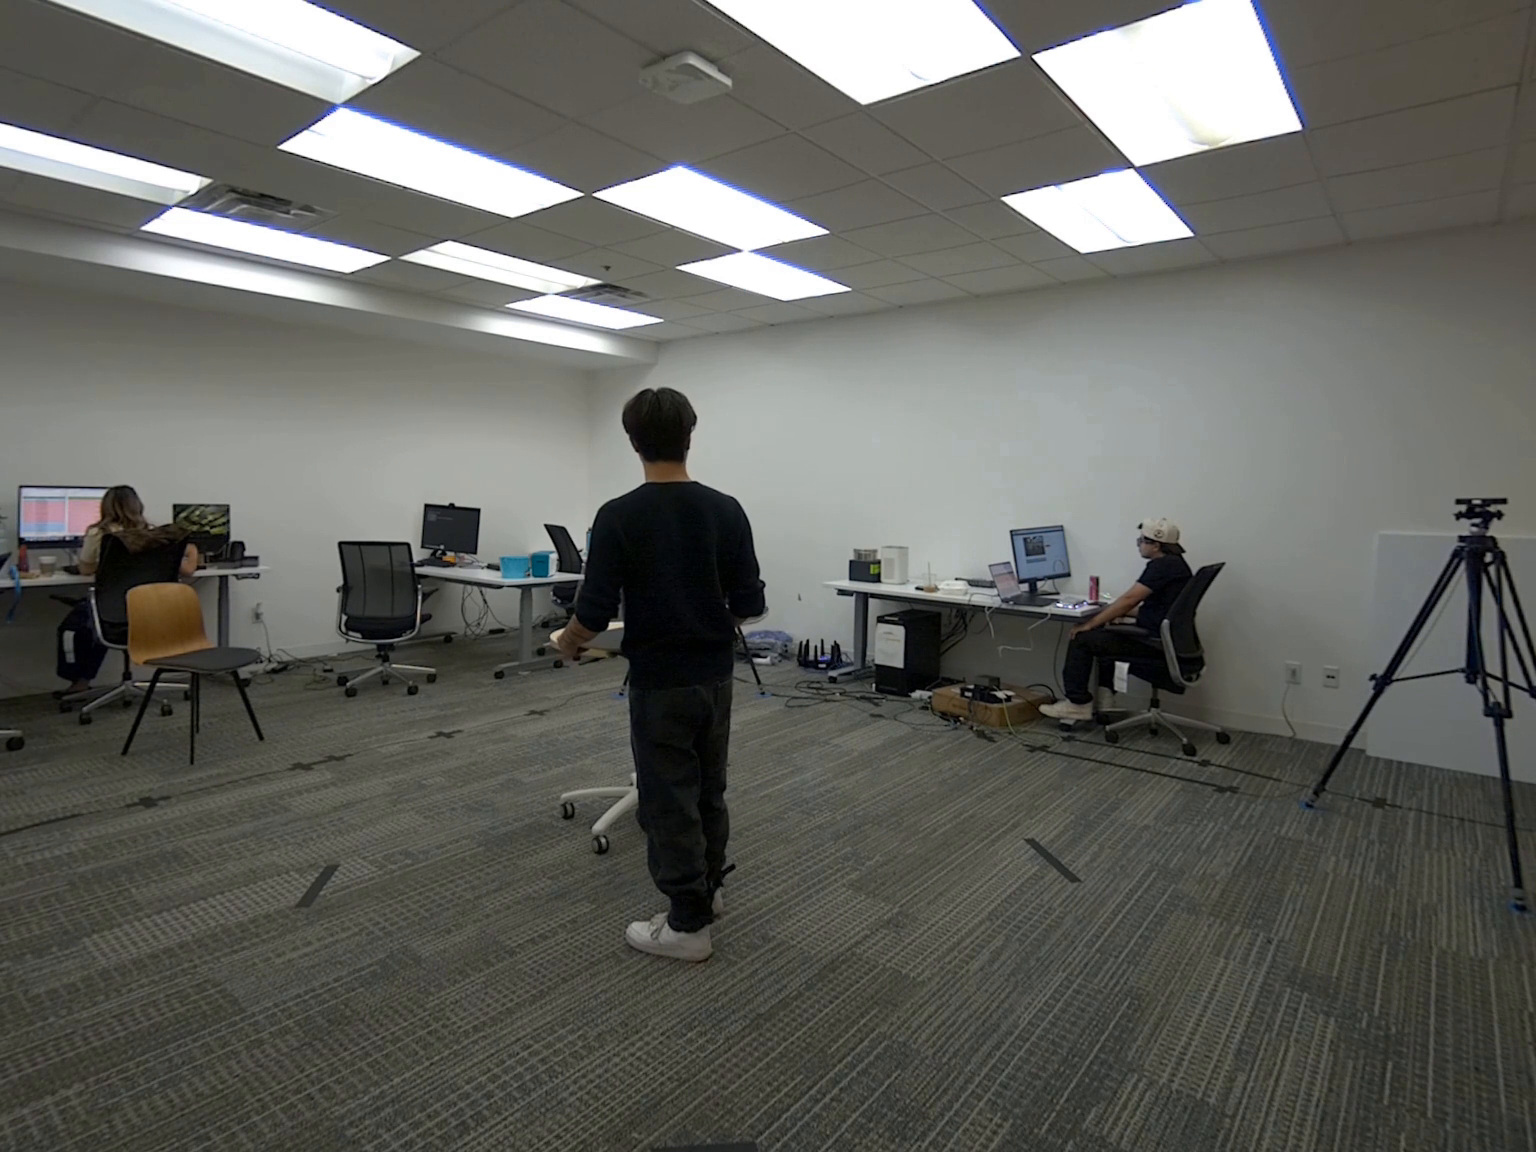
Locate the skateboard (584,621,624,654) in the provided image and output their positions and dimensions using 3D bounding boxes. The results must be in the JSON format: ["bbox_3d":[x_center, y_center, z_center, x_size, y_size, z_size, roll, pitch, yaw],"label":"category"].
[{"bbox_3d":[-0.326,0.205,2.849,0.764,0.109,0.201,-8,15,-39],"label":"skateboard"}]
